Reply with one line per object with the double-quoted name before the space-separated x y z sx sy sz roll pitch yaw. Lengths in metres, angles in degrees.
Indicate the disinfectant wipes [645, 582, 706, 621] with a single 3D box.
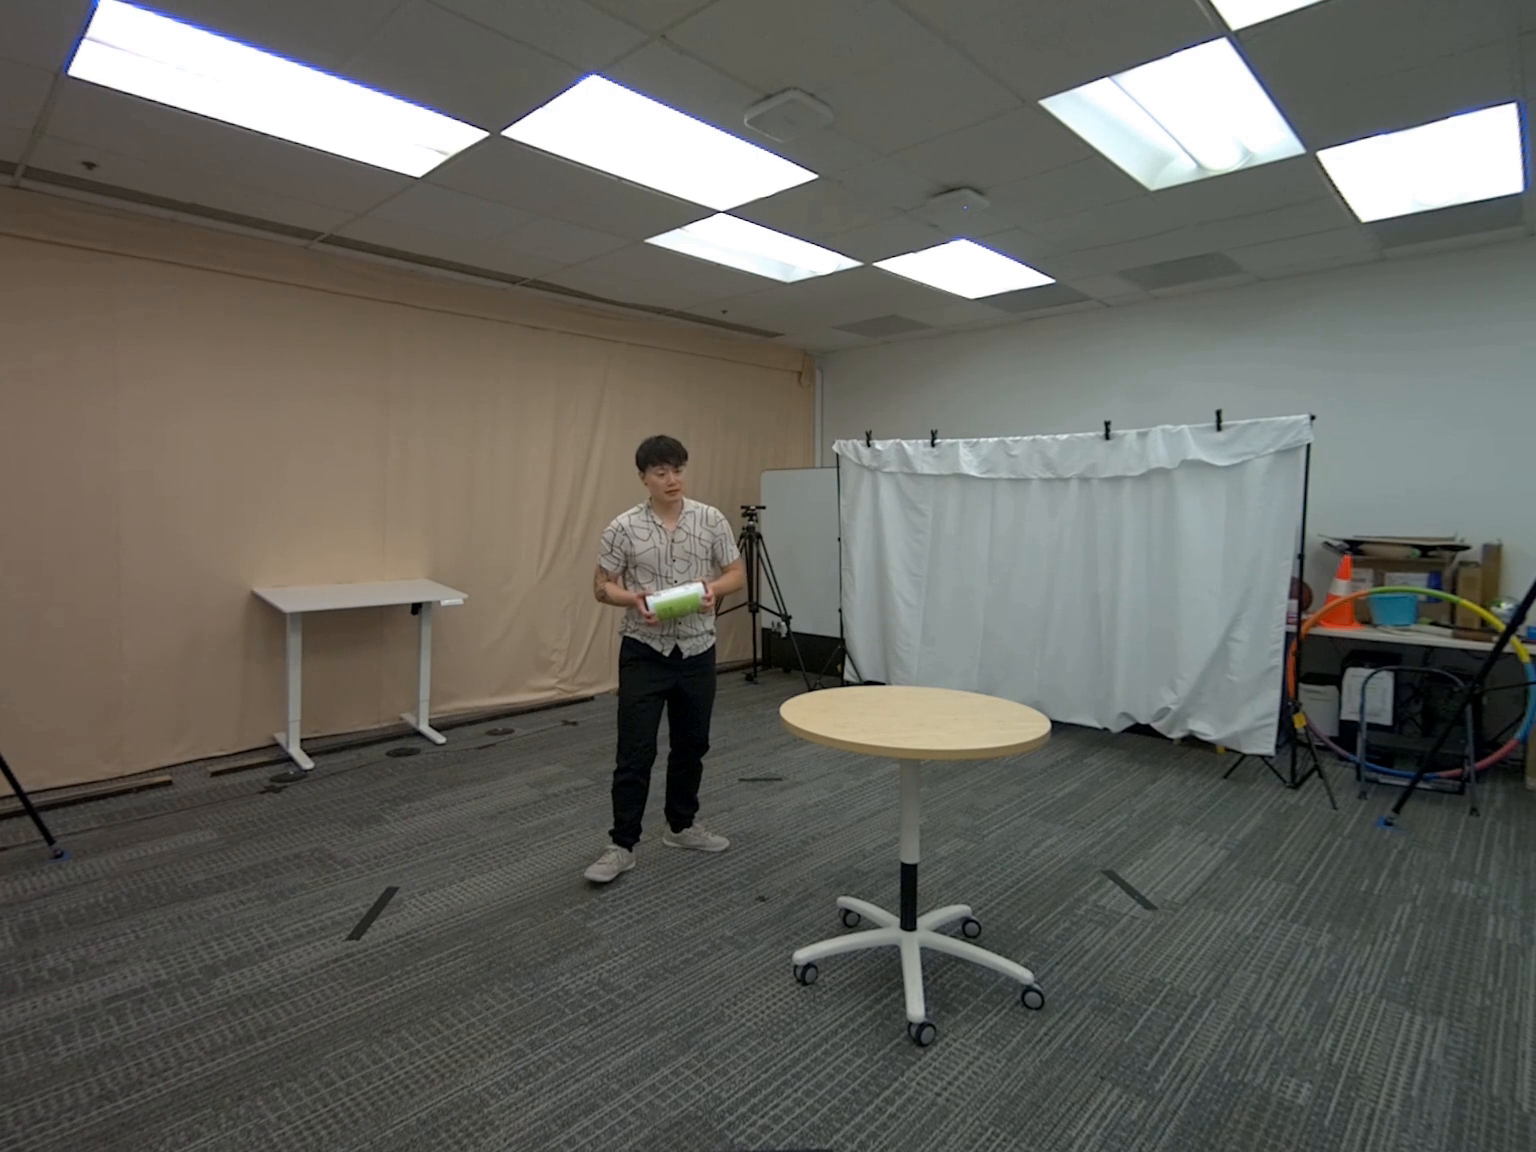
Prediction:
"disinfectant wipes" -0.338 0.097 3.076 0.216 0.117 0.119 -14 6 -8
